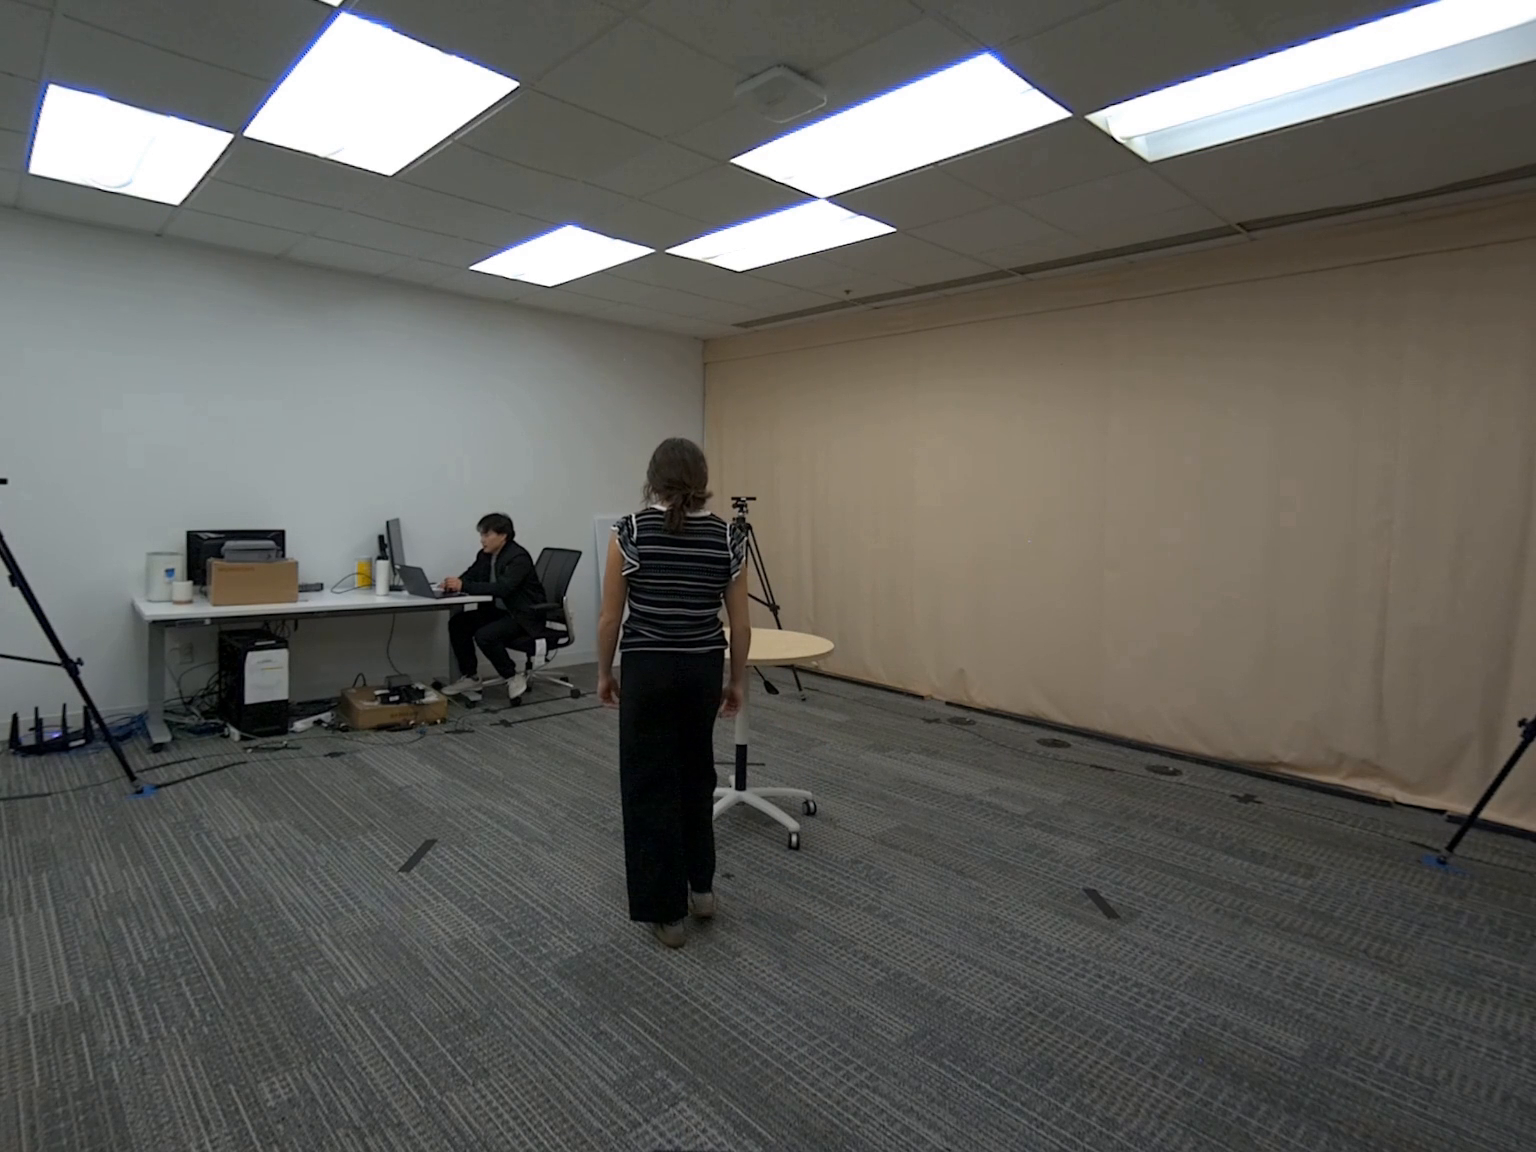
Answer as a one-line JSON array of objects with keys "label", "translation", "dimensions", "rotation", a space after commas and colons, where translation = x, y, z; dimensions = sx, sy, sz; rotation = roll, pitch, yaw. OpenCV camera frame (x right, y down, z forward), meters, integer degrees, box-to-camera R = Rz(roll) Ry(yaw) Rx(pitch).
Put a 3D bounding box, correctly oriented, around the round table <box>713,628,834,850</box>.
[{"label": "round table", "translation": [-0.122, 0.677, 3.620], "dimensions": [0.763, 0.792, 0.766], "rotation": [2, 4, -1]}]
